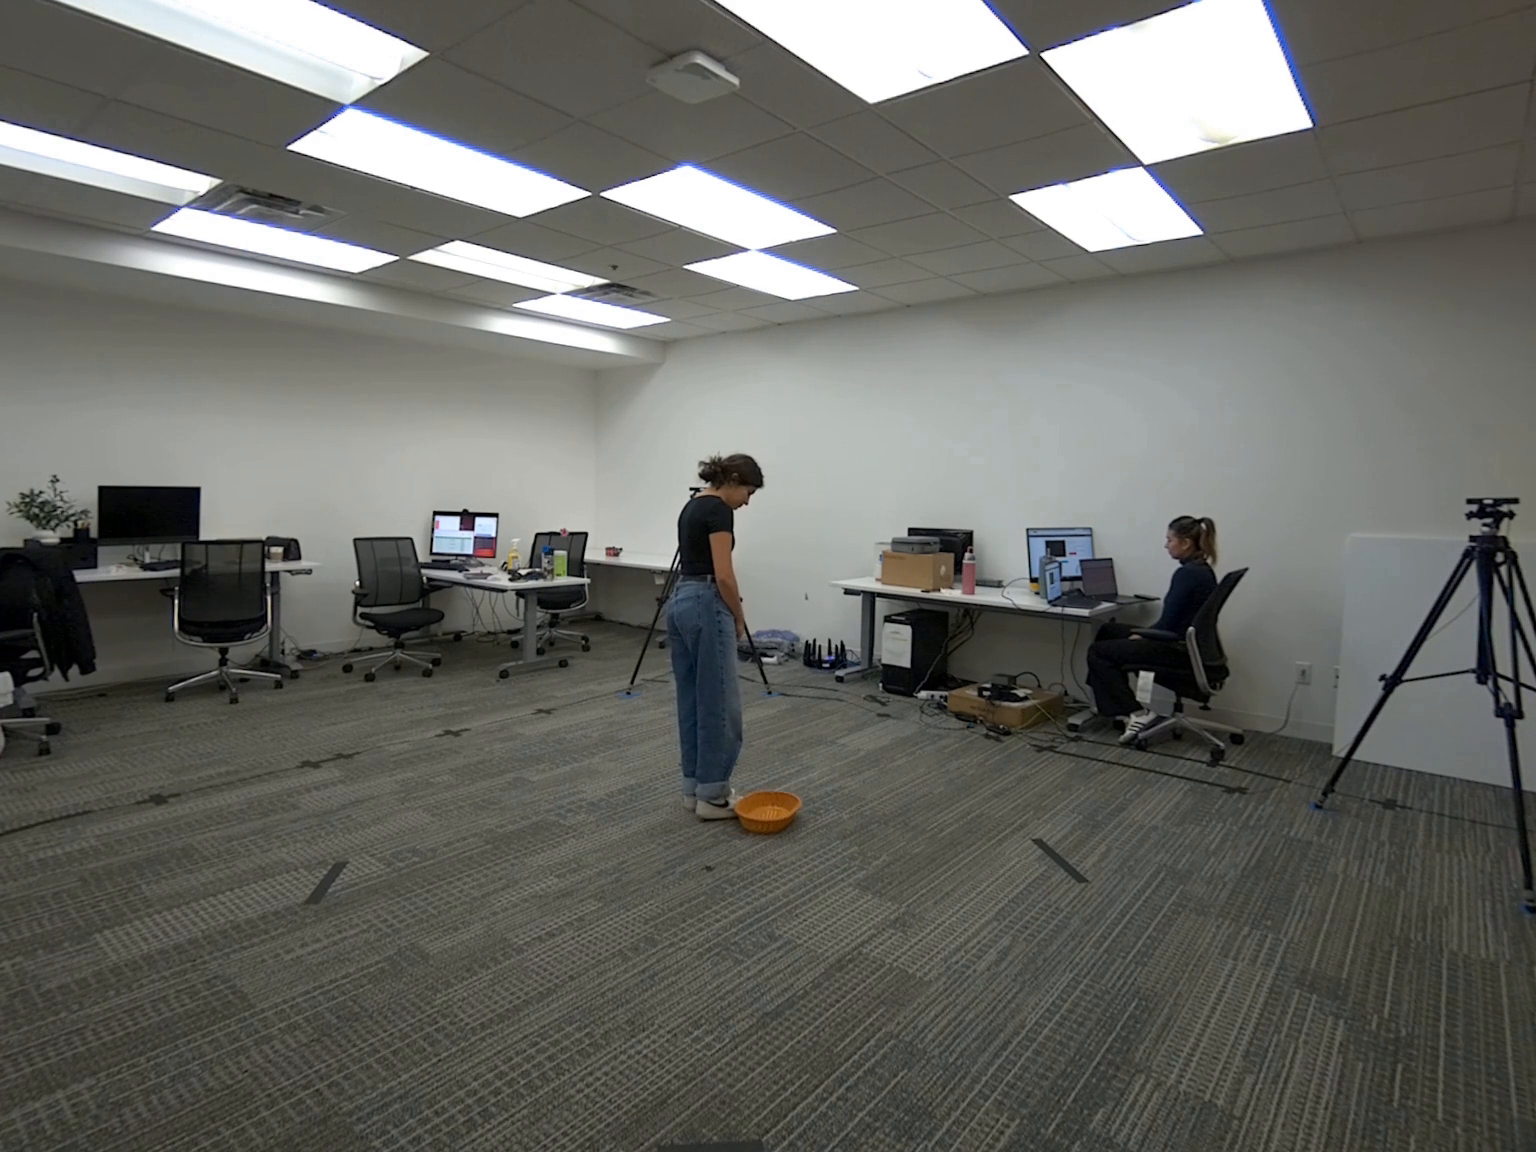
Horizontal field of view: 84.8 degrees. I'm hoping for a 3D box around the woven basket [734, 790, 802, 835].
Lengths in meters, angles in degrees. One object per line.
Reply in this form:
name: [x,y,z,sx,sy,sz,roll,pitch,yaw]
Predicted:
woven basket: [-0.009,0.984,3.560,0.259,0.073,0.342,5,7,27]
